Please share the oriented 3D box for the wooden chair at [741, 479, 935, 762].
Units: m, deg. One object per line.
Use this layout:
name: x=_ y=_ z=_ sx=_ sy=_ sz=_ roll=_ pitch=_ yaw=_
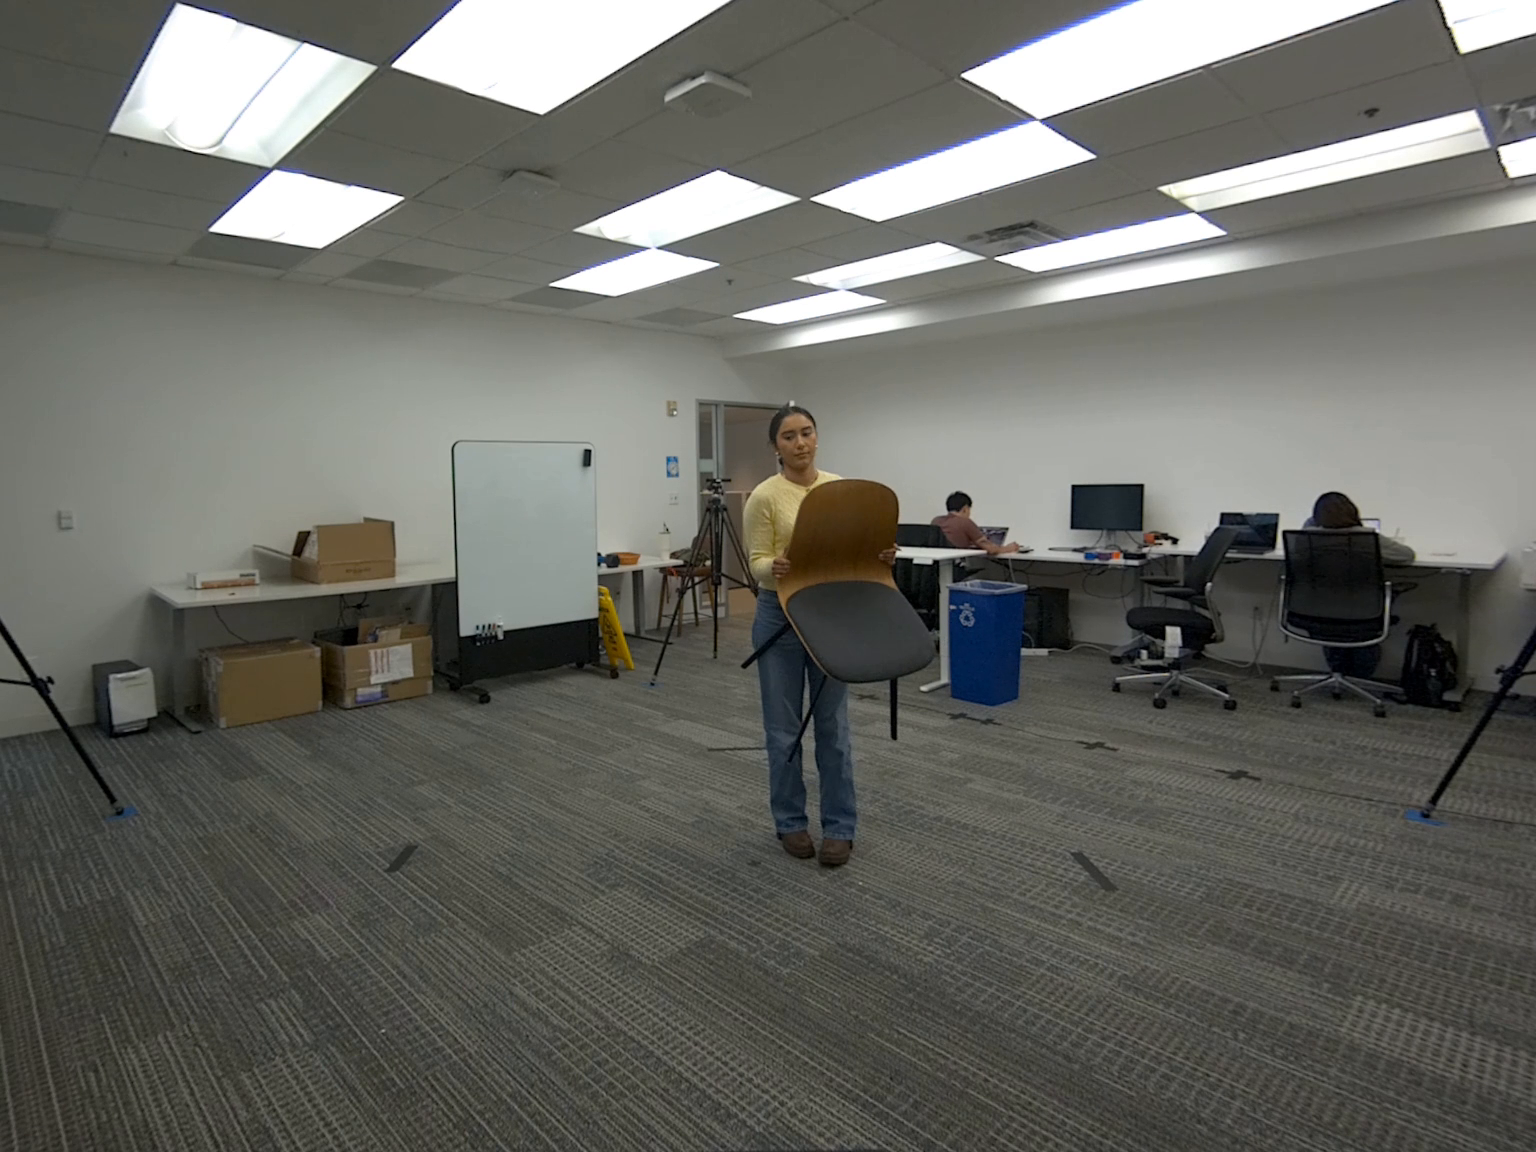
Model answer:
wooden chair: x=0.287 y=0.172 z=2.944 sx=0.469 sy=0.860 sz=0.544 roll=-6 pitch=39 yaw=-25
